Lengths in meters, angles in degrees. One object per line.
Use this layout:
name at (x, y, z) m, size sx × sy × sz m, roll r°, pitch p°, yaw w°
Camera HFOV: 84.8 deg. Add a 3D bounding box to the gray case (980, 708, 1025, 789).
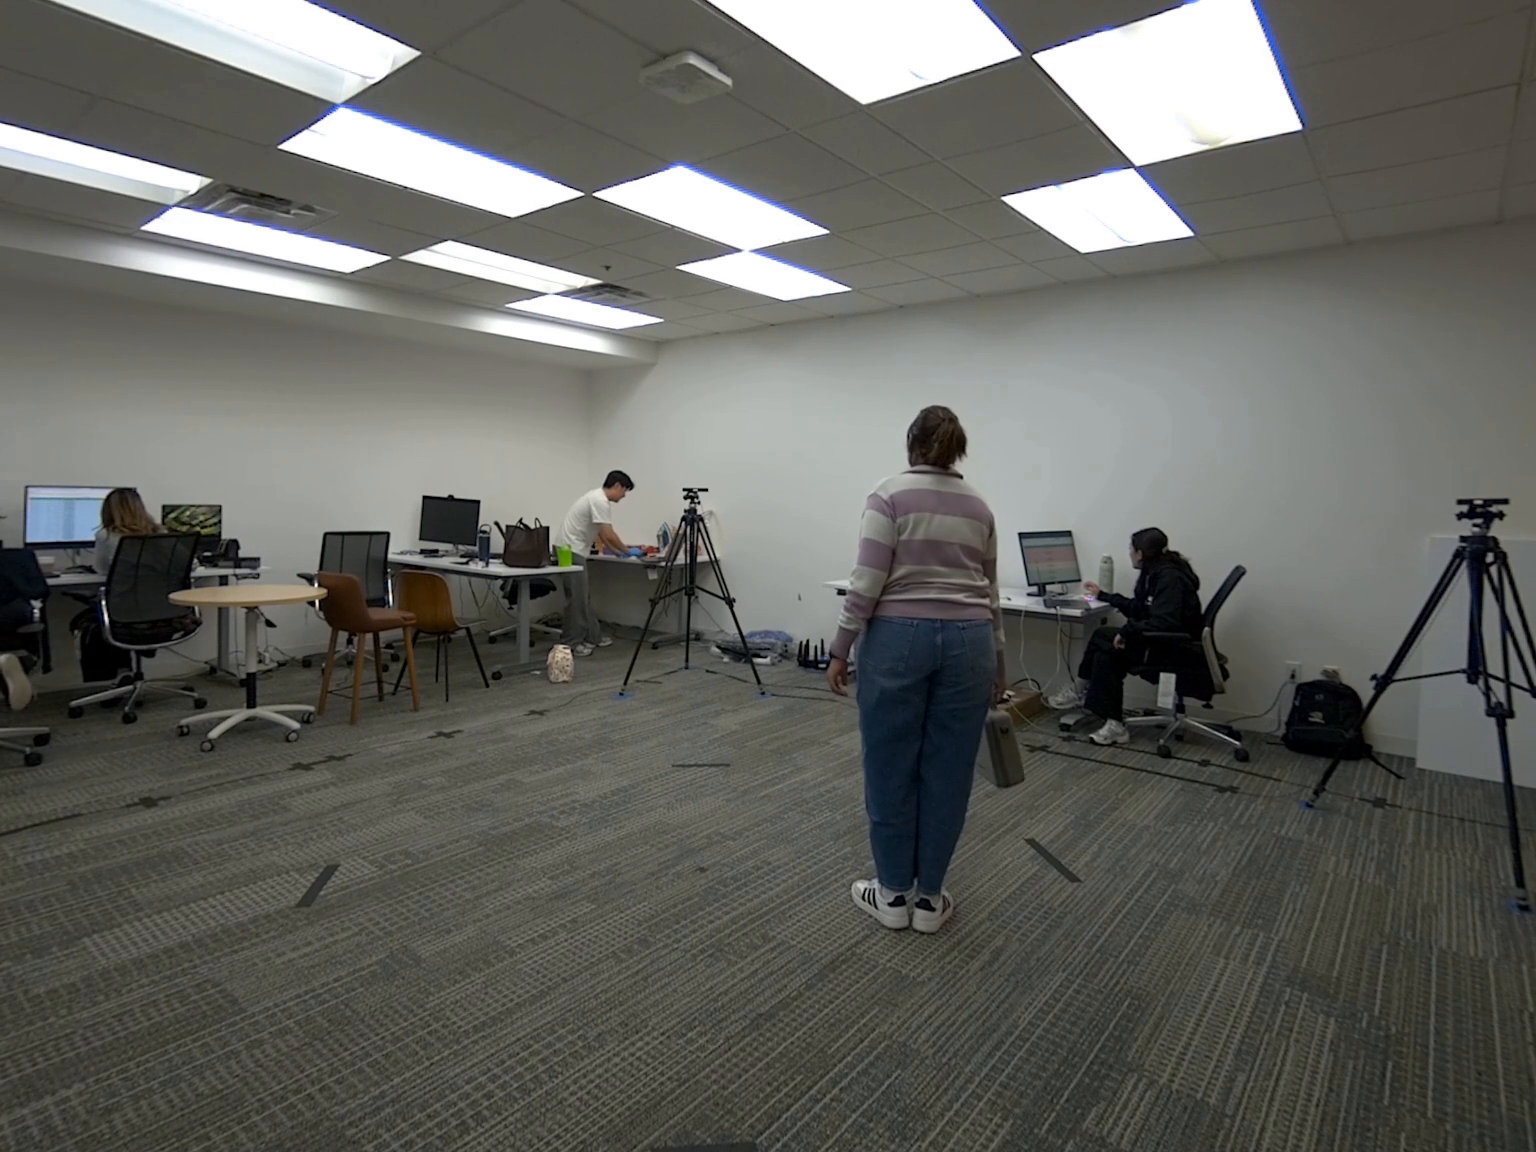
gray case at (0.762, 0.579, 2.978) m, size 0.104 × 0.260 × 0.258 m, roll -13°, pitch 4°, yaw -5°
